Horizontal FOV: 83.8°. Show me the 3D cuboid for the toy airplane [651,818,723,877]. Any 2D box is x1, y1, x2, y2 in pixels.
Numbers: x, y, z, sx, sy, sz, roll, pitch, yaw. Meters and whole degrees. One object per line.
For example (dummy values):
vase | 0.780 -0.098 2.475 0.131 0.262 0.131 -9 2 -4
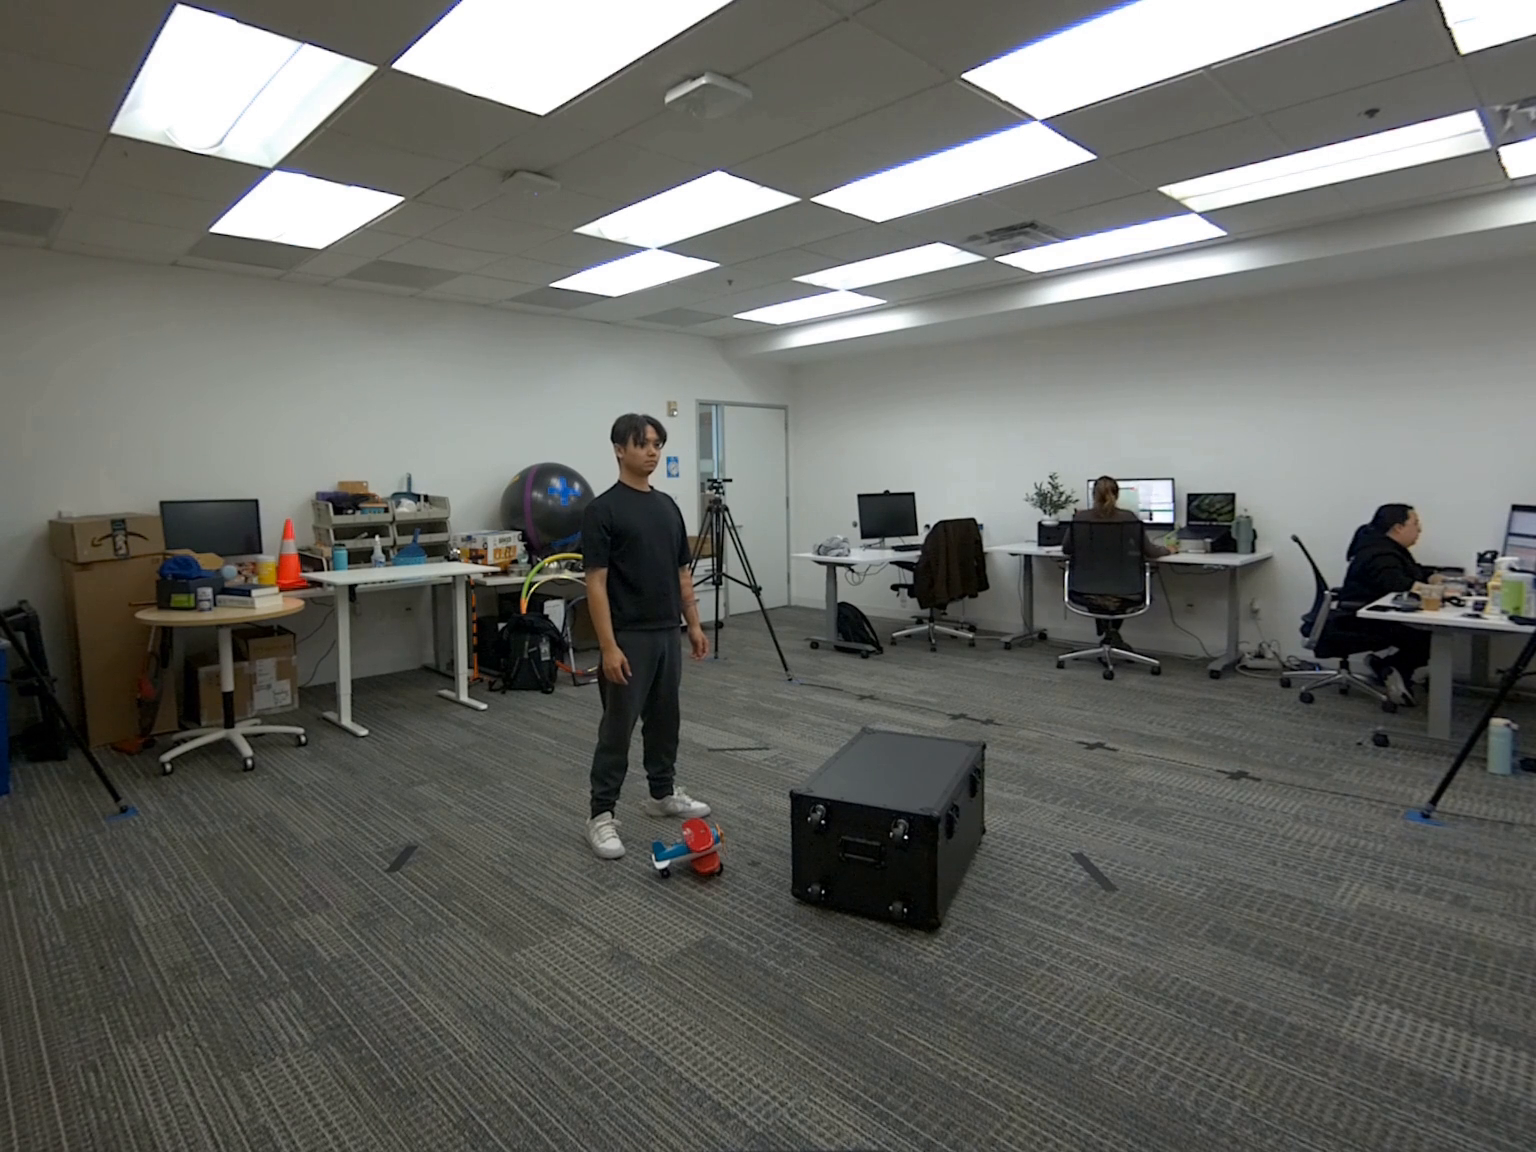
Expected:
toy airplane | -0.263 0.981 3.017 0.252 0.156 0.259 -5 7 -43
